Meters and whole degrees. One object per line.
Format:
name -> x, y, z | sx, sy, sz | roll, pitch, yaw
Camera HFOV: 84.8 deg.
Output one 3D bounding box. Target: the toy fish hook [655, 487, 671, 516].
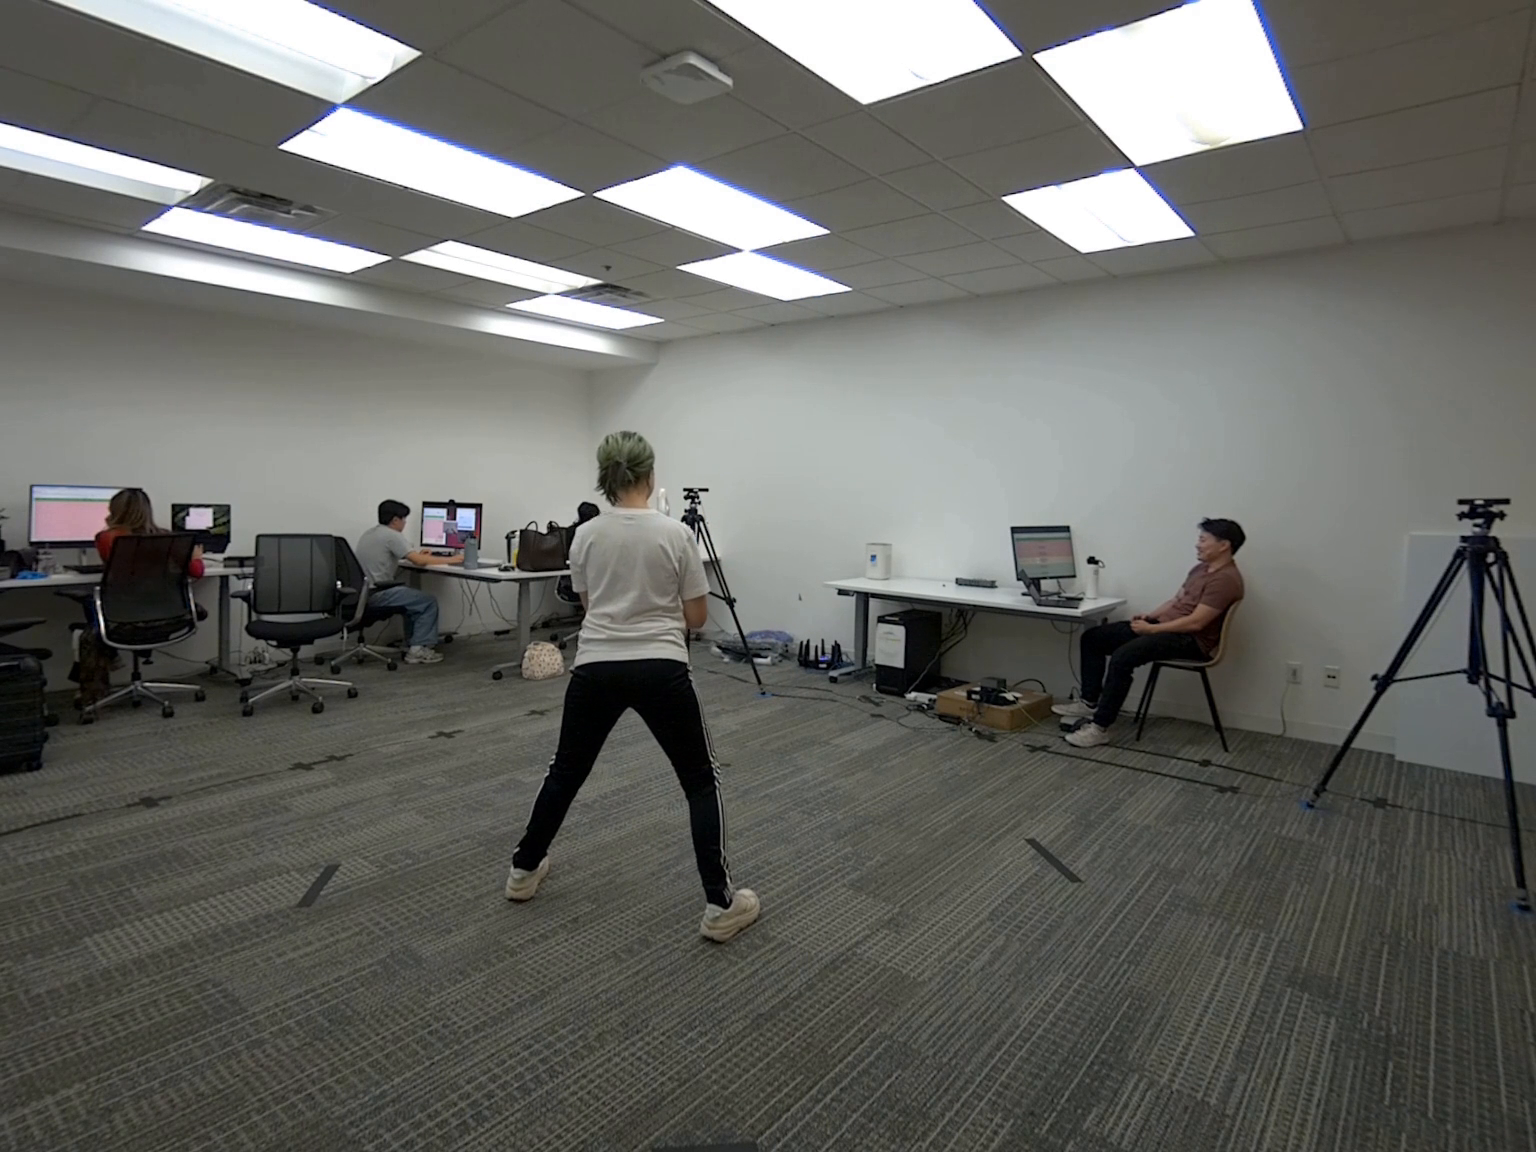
toy fish hook -> -0.386, -0.078, 3.190 | 0.048, 0.515, 0.220 | -2, -17, 1
